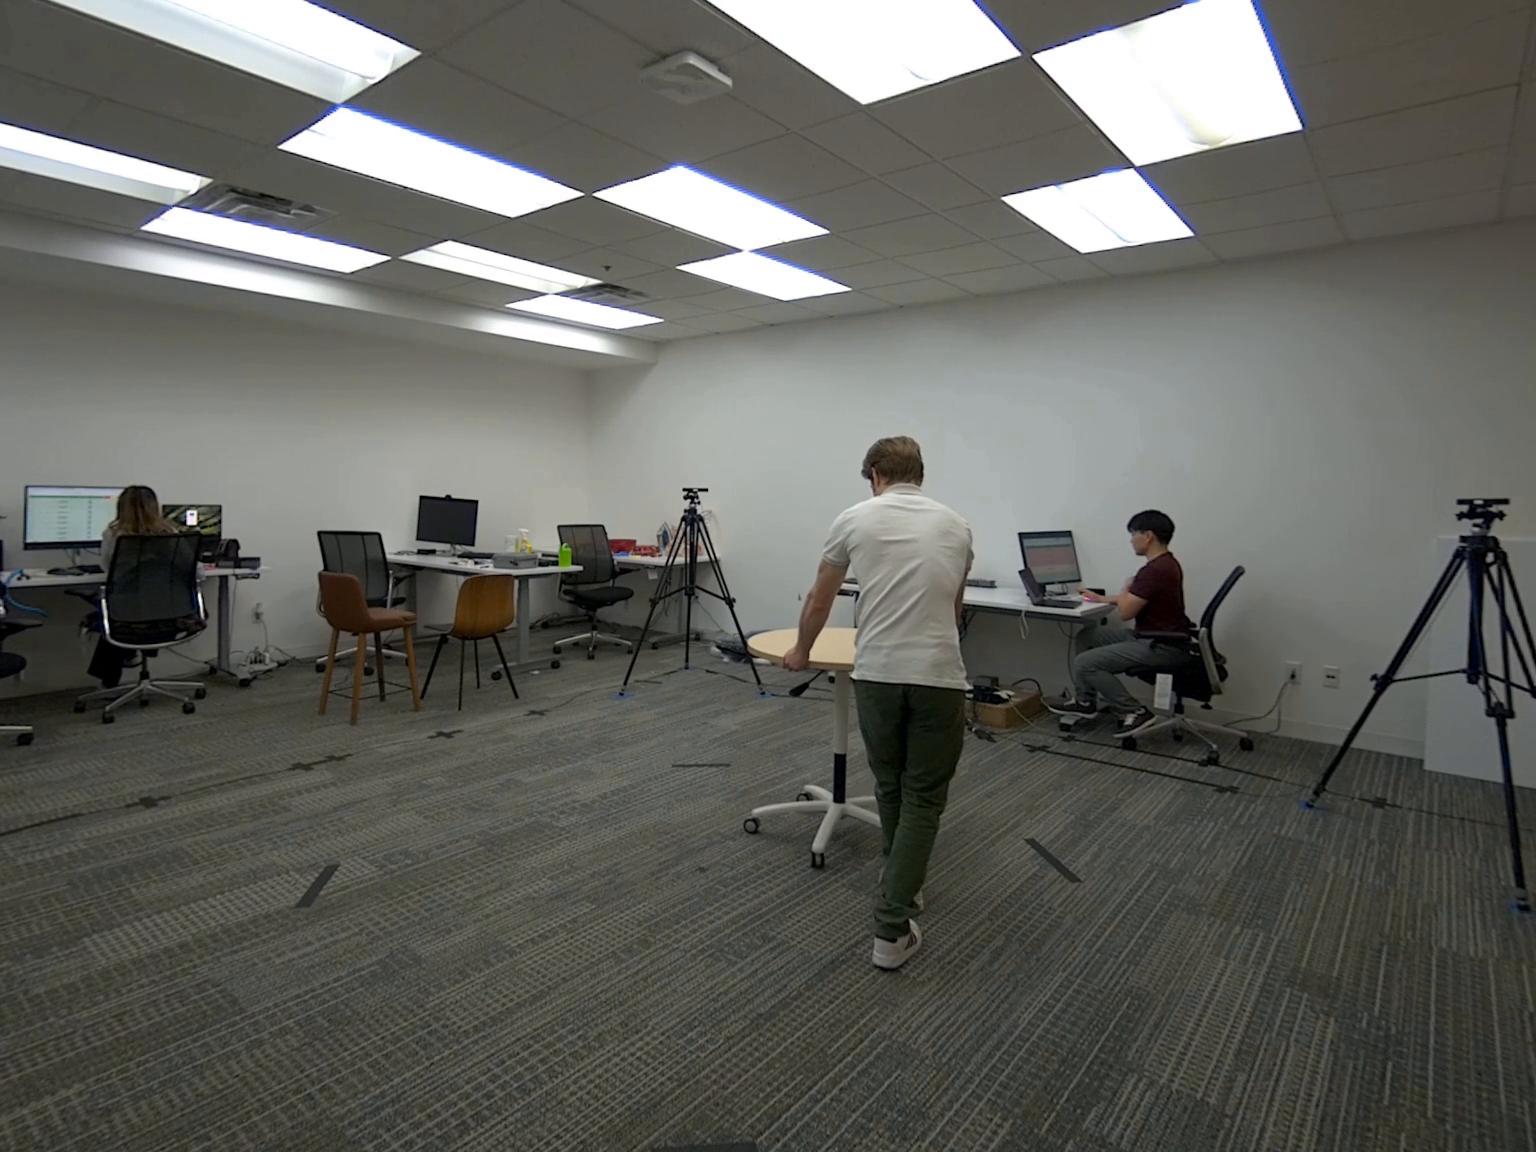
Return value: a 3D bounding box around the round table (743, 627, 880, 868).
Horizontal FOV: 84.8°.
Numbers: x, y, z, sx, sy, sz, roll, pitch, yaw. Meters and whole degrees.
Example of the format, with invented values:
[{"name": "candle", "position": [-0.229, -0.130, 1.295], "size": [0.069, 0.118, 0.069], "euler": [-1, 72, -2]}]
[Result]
[{"name": "round table", "position": [0.287, 0.657, 3.414], "size": [0.784, 0.784, 0.789], "euler": [1, 5, -2]}]
